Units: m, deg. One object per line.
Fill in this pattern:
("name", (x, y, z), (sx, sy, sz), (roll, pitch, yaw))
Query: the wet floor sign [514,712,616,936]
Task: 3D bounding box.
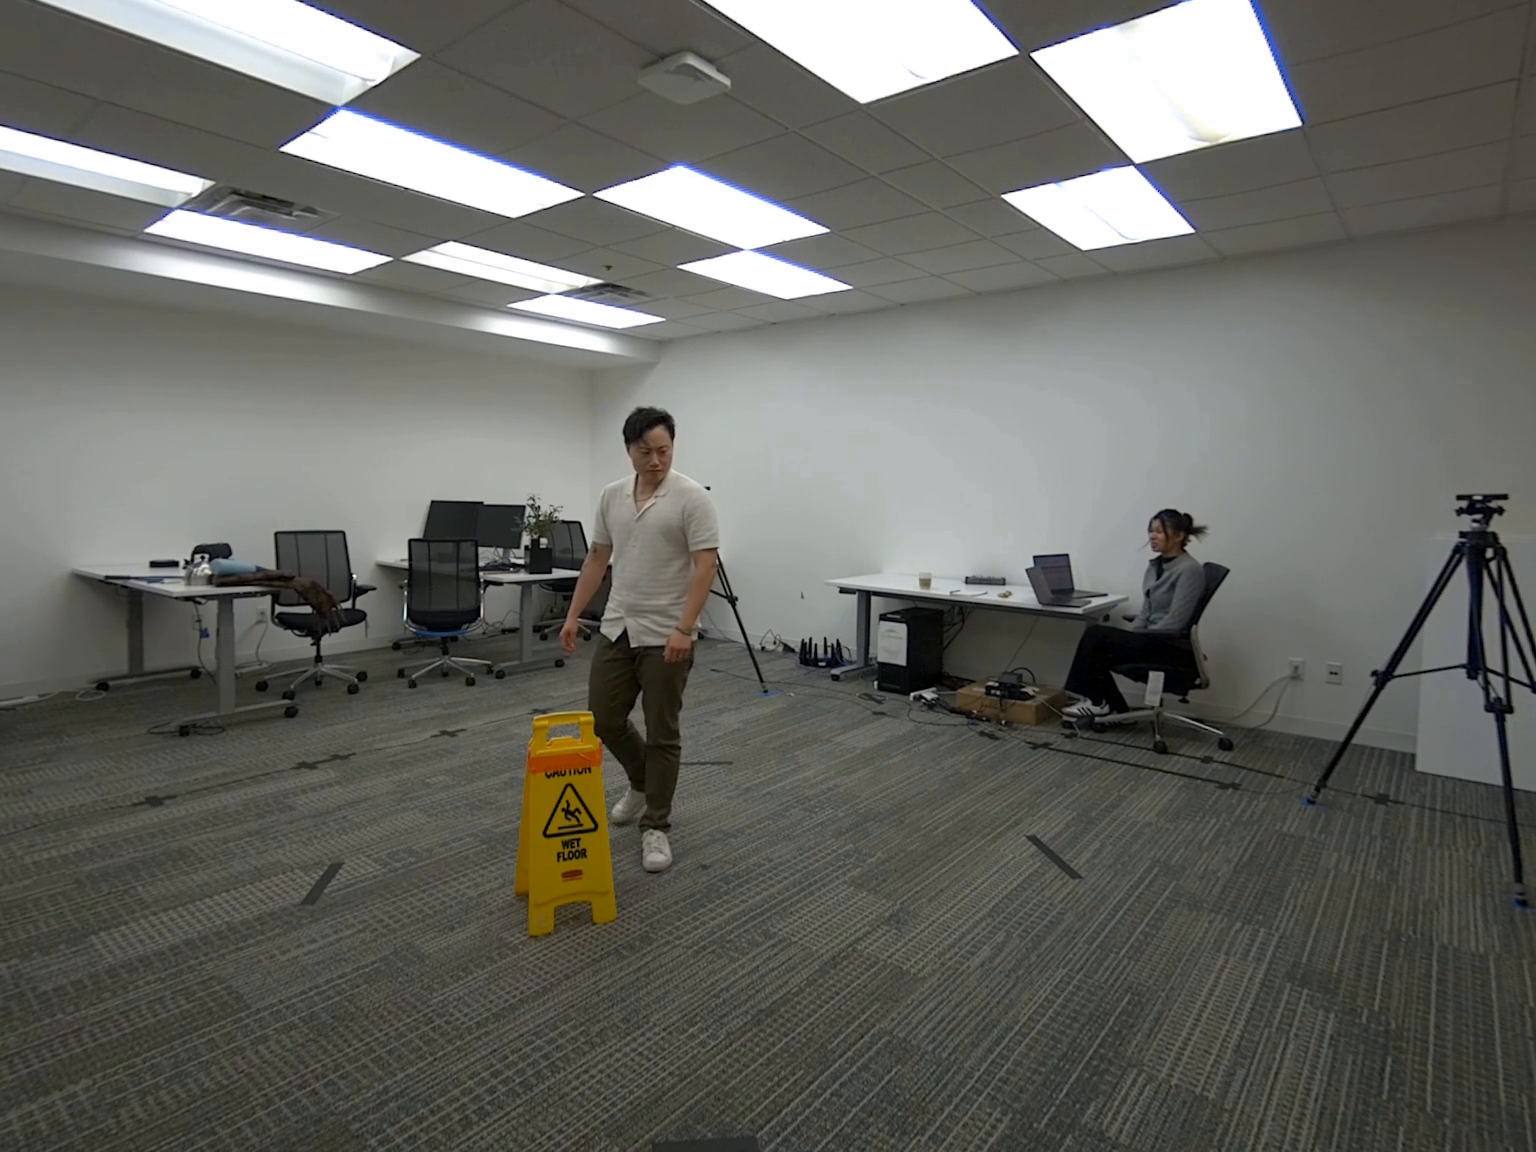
("wet floor sign", (-0.678, 0.768, 2.784), (0.276, 0.643, 0.297), (-2, 5, -25))
